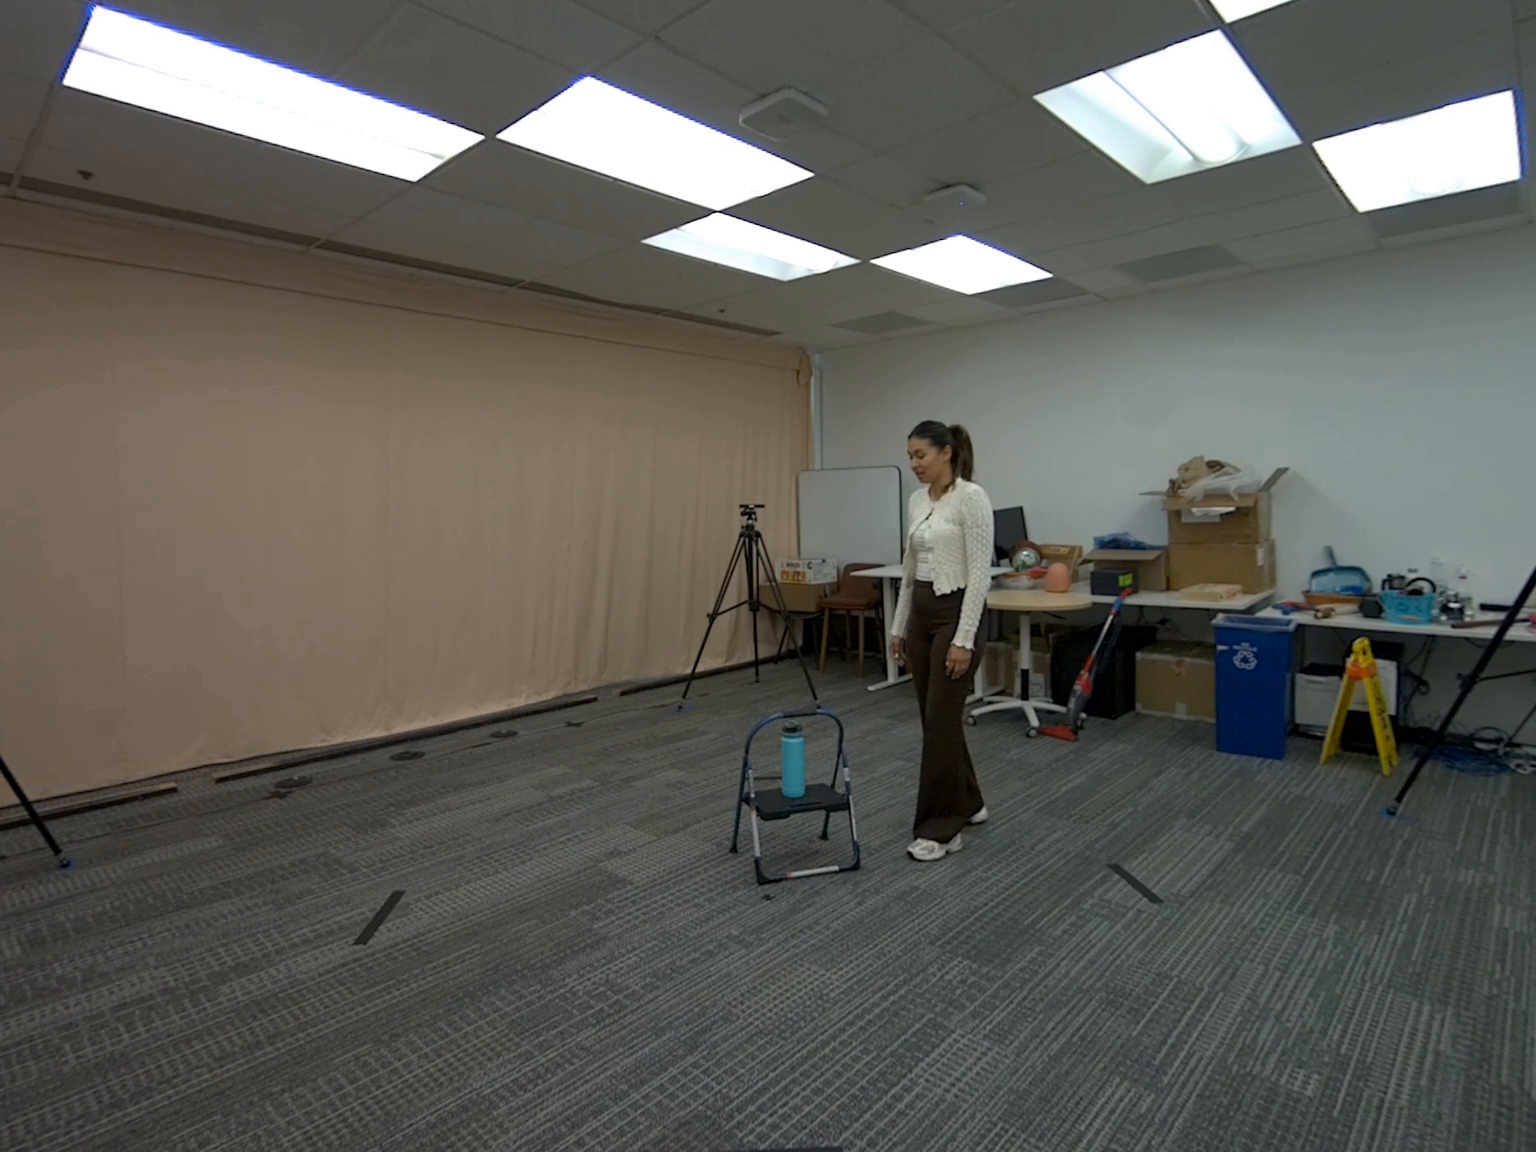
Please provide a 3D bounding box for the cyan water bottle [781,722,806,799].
[{"bbox_3d":[0.105,0.711,3.284,0.092,0.283,0.092,0,1,-2],"label":"cyan water bottle"}]
